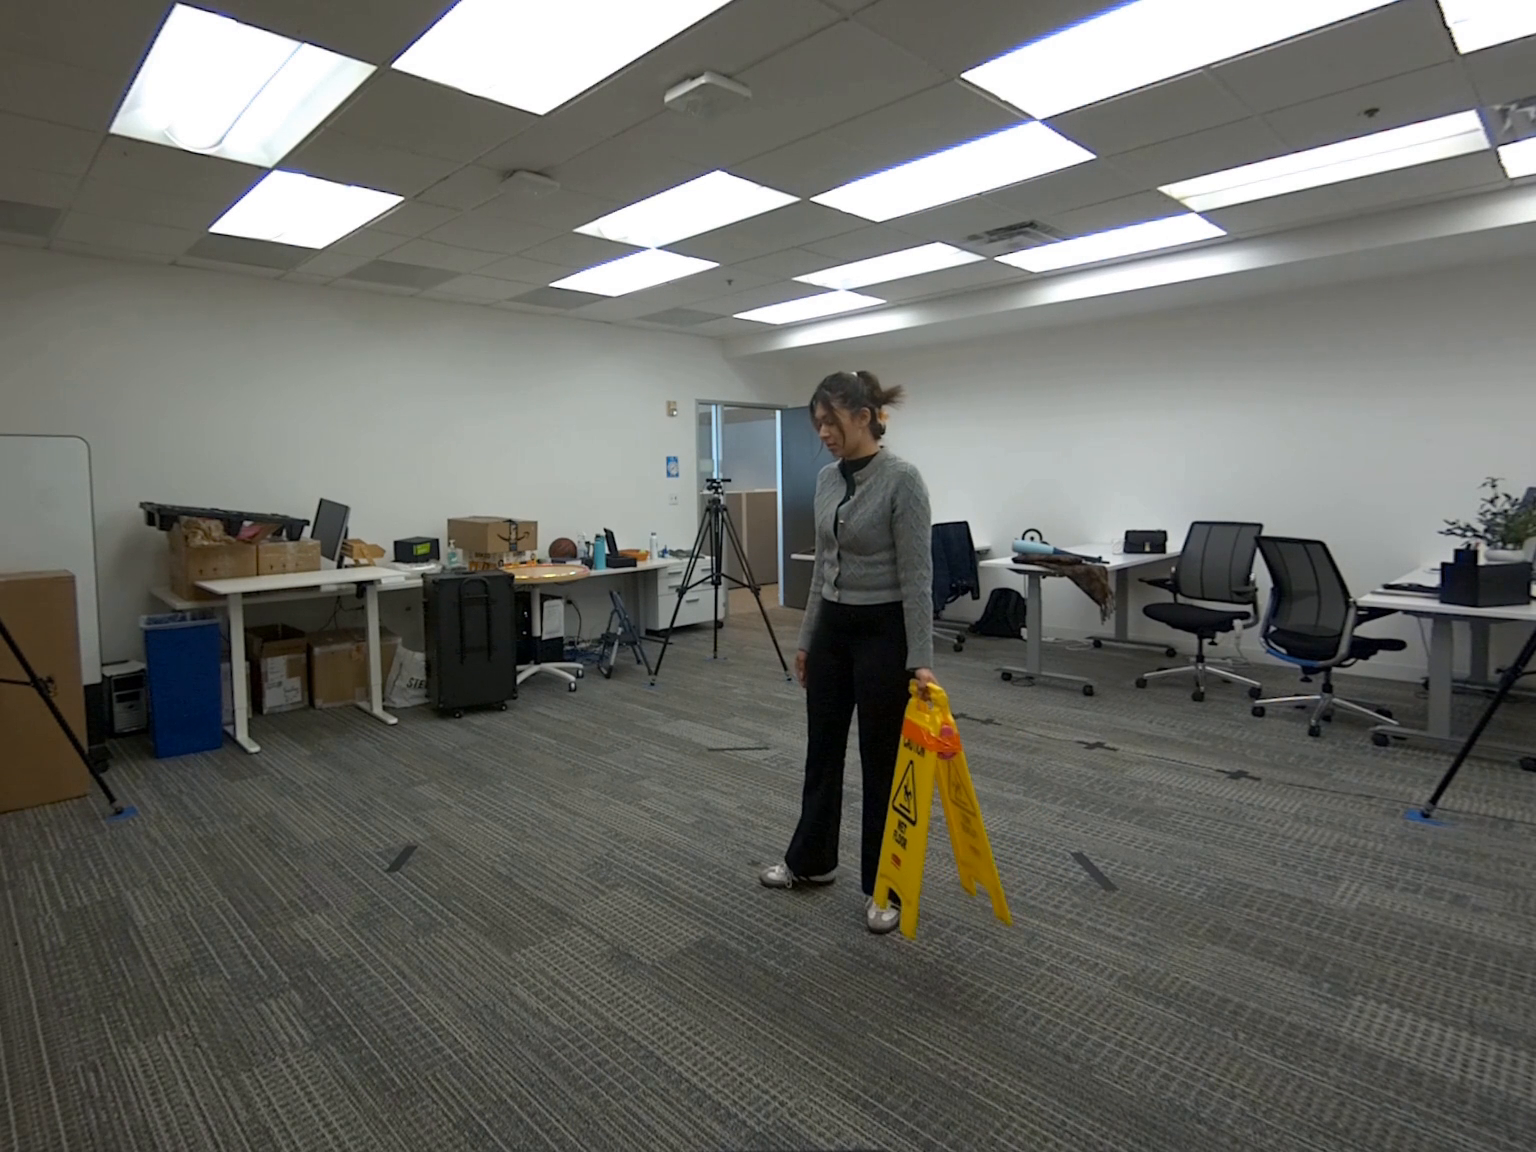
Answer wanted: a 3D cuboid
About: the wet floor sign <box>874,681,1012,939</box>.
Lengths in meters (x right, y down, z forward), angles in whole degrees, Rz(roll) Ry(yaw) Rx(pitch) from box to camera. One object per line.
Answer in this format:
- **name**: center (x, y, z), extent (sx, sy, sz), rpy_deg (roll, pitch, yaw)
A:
- **wet floor sign**: center (0.471, 0.630, 2.397), extent (0.287, 0.647, 0.284), rpy_deg (-4, -2, -11)
